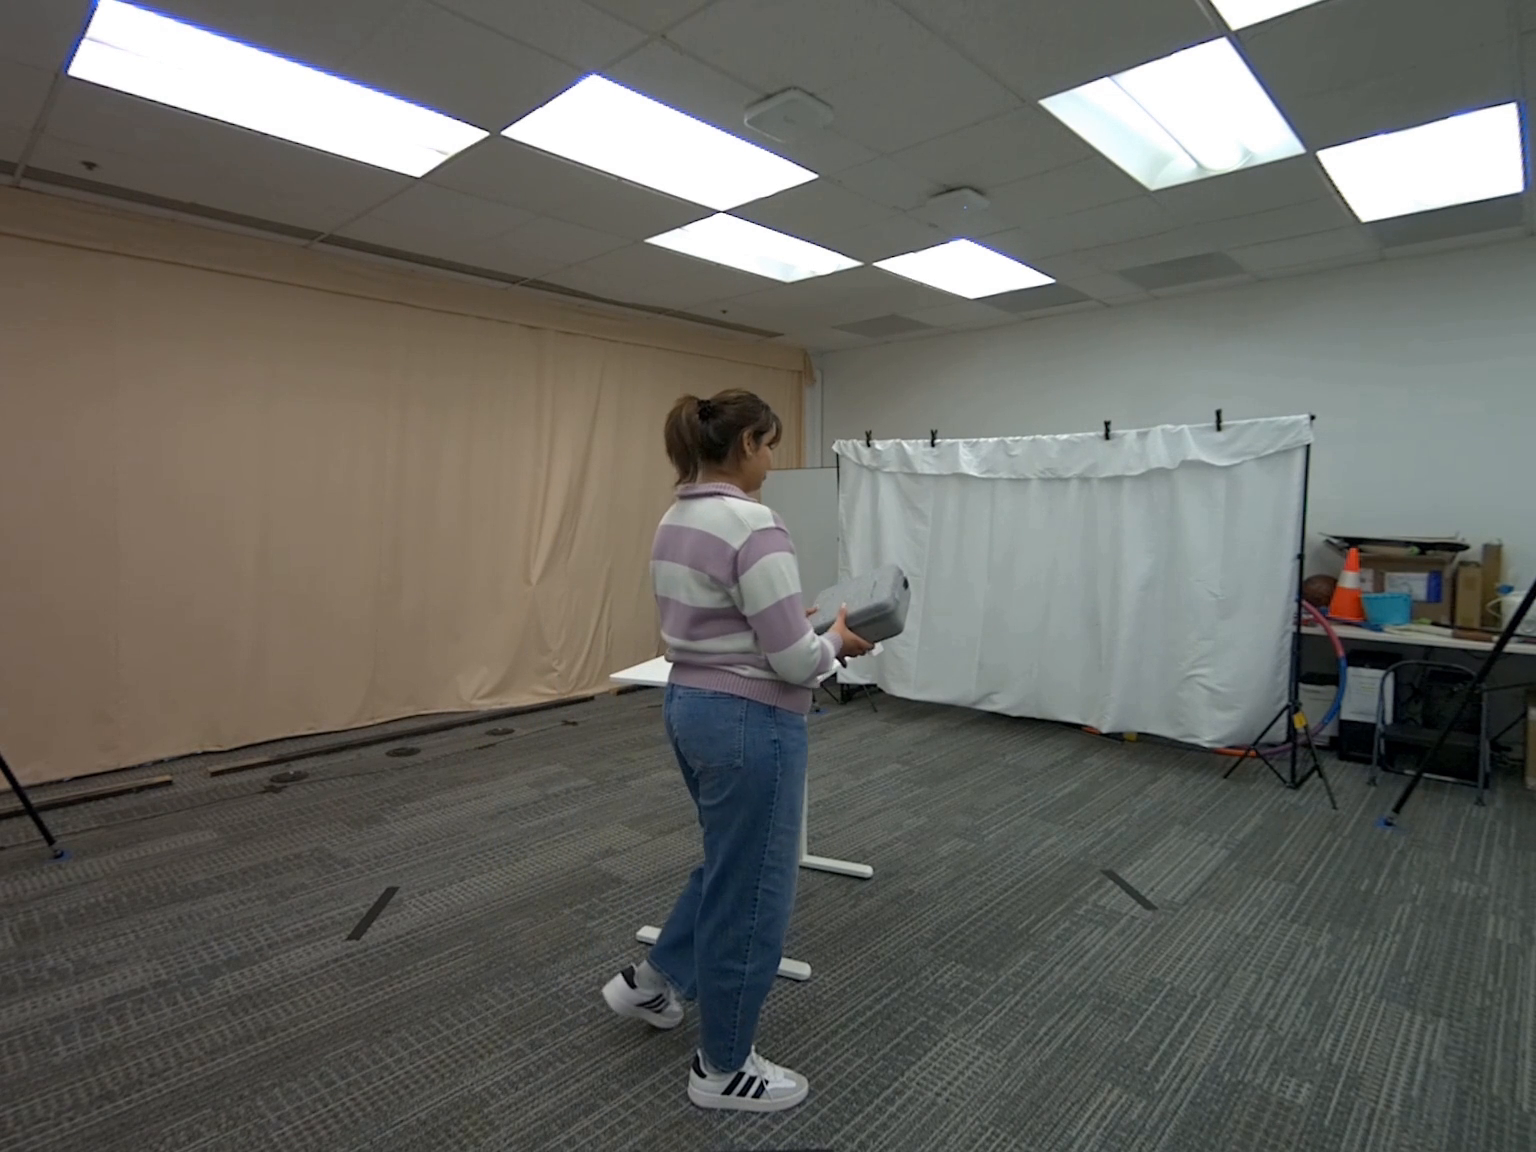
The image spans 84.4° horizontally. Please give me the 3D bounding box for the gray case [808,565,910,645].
[{"bbox_3d":[0.243,0.090,2.167,0.264,0.103,0.257,-23,17,21],"label":"gray case"}]
